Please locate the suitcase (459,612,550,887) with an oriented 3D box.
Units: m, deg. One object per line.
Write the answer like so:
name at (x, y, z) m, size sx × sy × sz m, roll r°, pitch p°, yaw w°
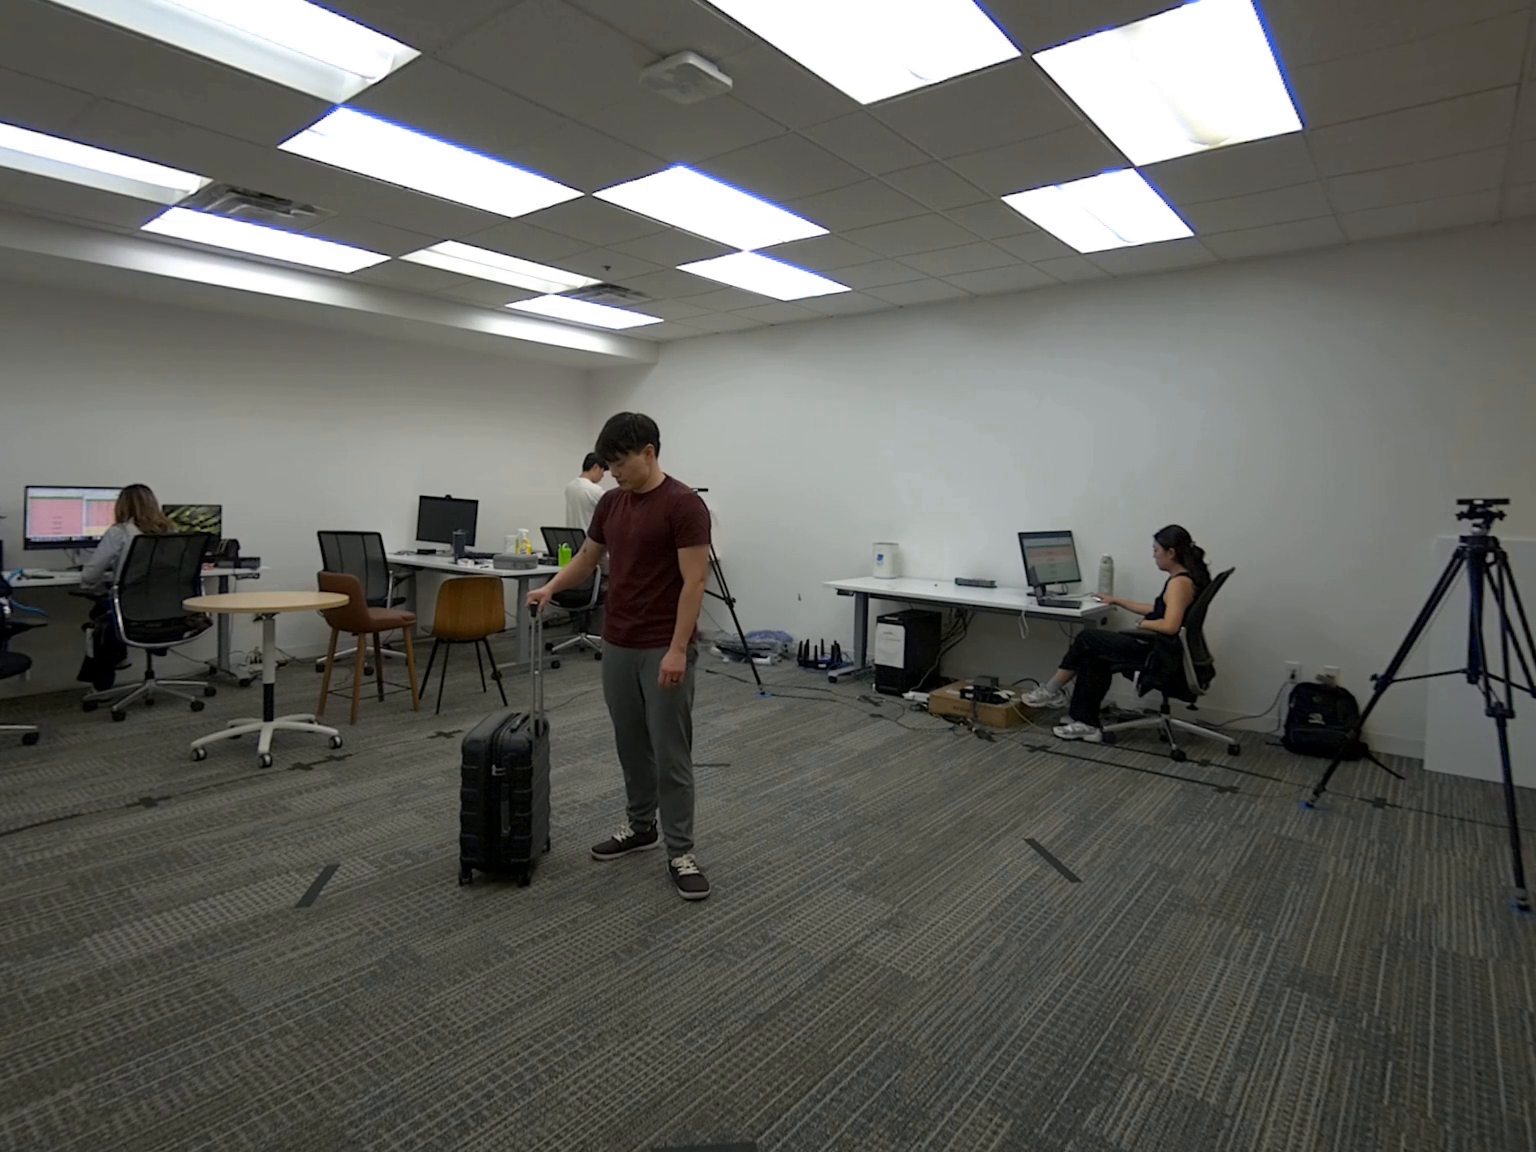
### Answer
suitcase at (-0.952, 0.586, 3.068) m, size 0.257 × 0.975 × 0.385 m, roll 0°, pitch 4°, yaw -1°
